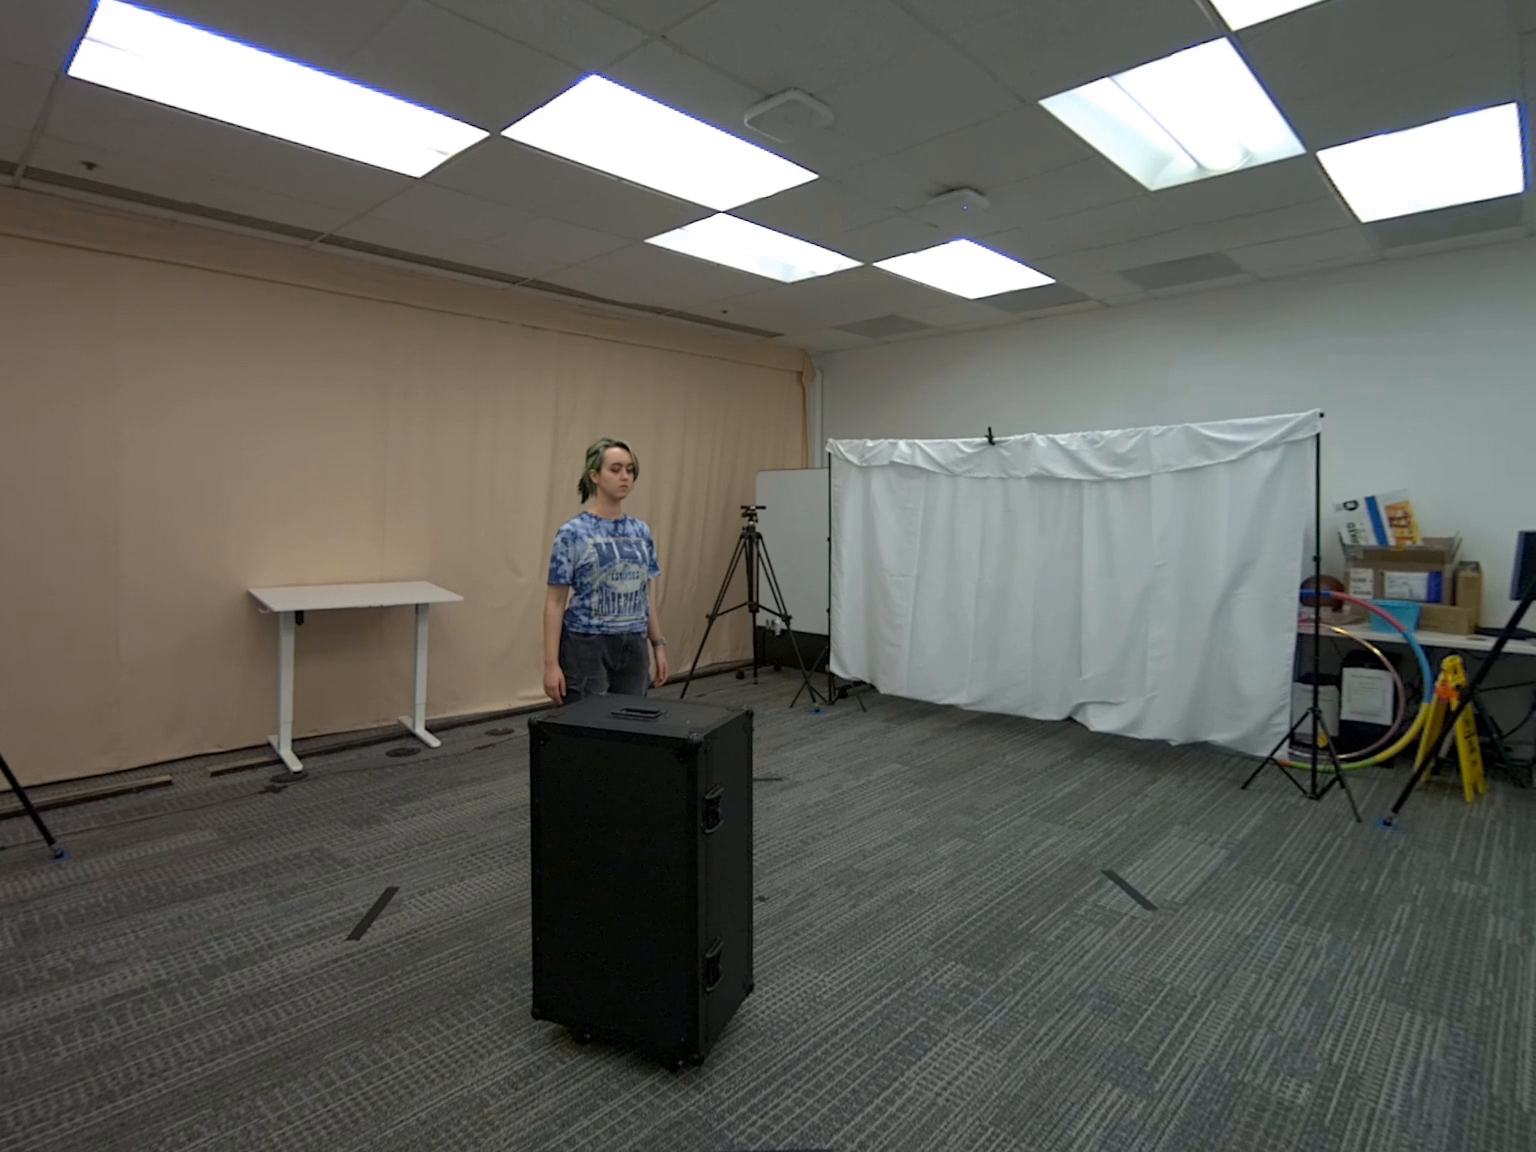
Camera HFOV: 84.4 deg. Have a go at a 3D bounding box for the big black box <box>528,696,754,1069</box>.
[{"bbox_3d":[-0.325,0.784,2.238,0.534,0.860,0.387,1,2,23],"label":"big black box"}]
